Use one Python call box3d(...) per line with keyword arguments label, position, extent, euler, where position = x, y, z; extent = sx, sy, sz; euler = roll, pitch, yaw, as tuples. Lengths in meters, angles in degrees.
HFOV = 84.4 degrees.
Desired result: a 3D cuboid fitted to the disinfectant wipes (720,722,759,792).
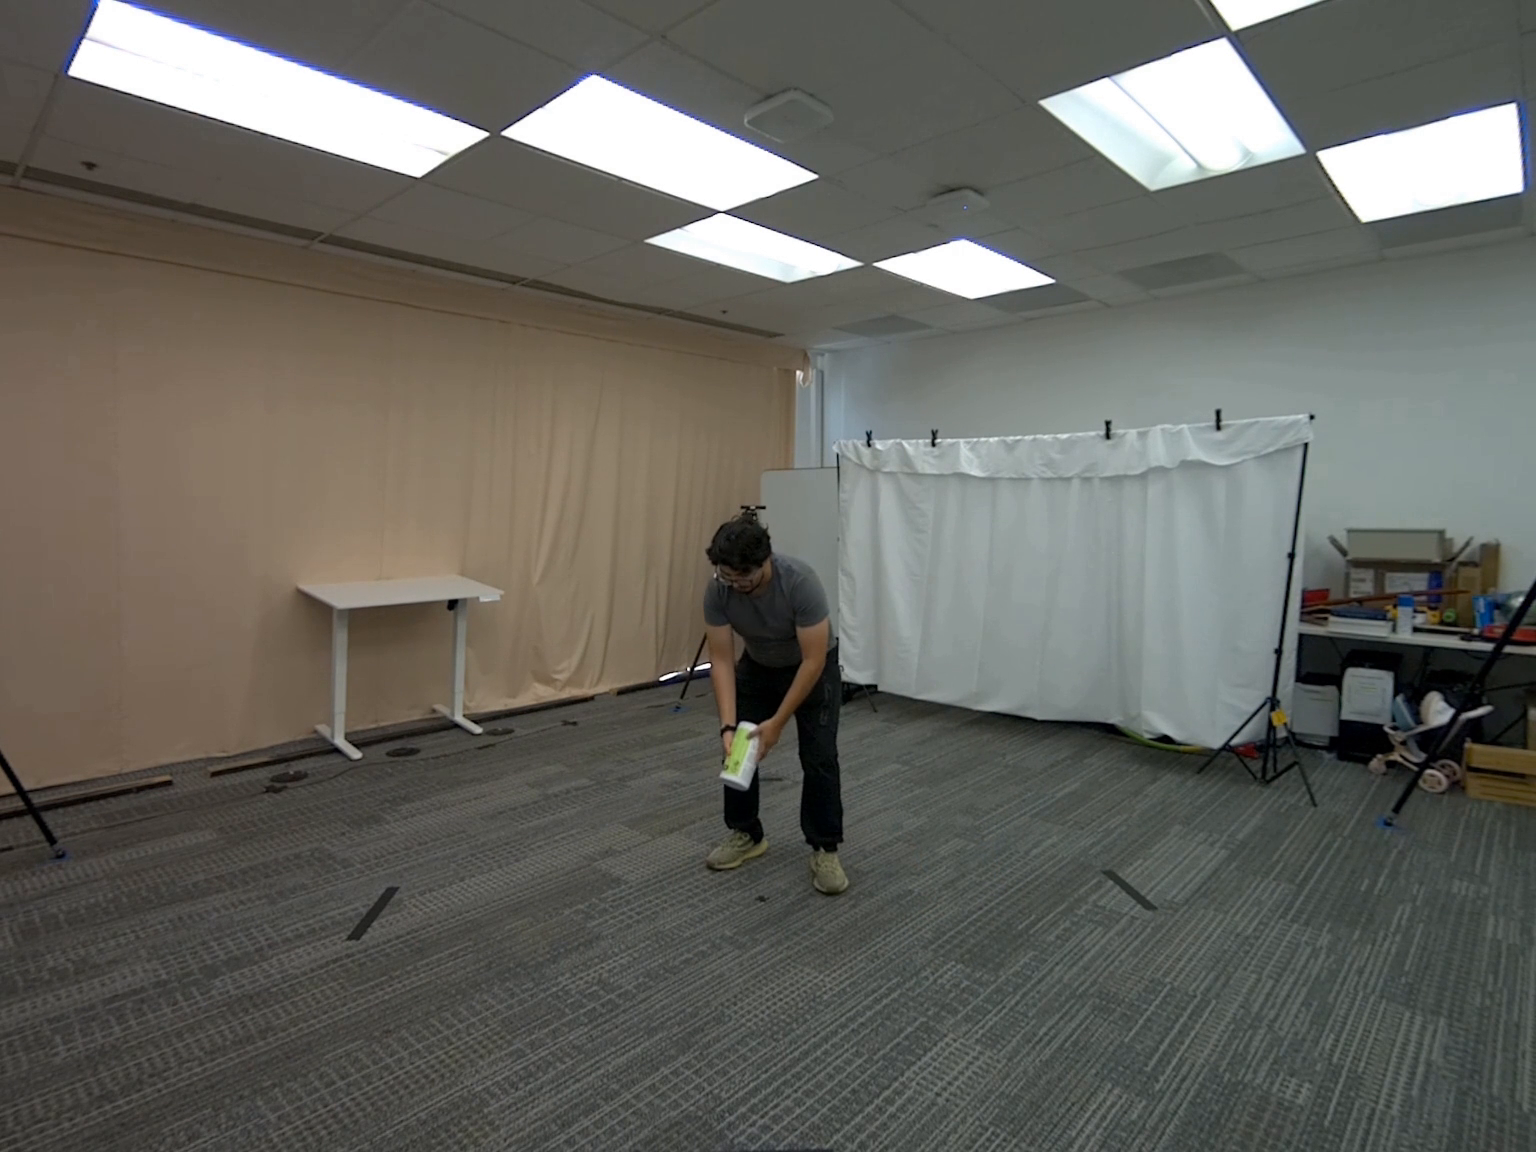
box3d(label="disinfectant wipes", position=(-0.089, 0.626, 2.956), extent=(0.119, 0.218, 0.116), euler=(16, -24, 6))
